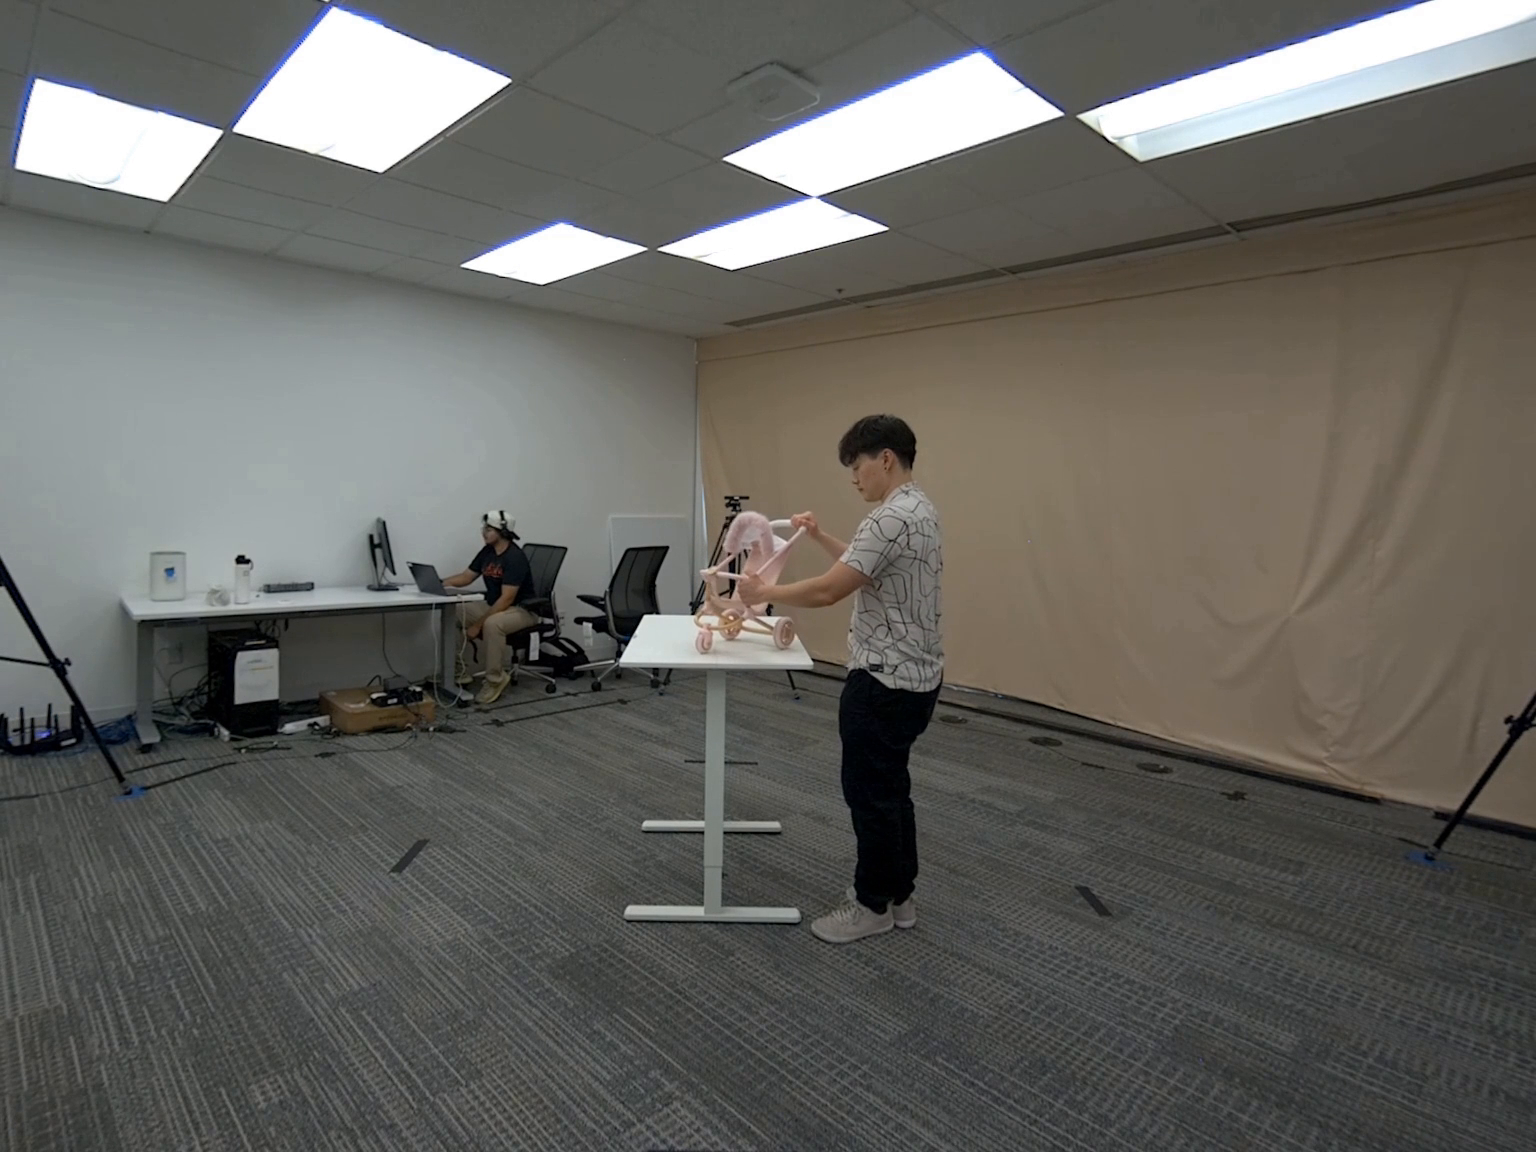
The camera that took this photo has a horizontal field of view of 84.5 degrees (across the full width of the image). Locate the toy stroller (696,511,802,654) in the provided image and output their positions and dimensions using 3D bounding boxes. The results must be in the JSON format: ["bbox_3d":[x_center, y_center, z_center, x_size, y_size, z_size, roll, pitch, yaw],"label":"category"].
[{"bbox_3d":[-0.084,0.019,2.879,0.331,0.537,0.288,19,-9,-42],"label":"toy stroller"}]
